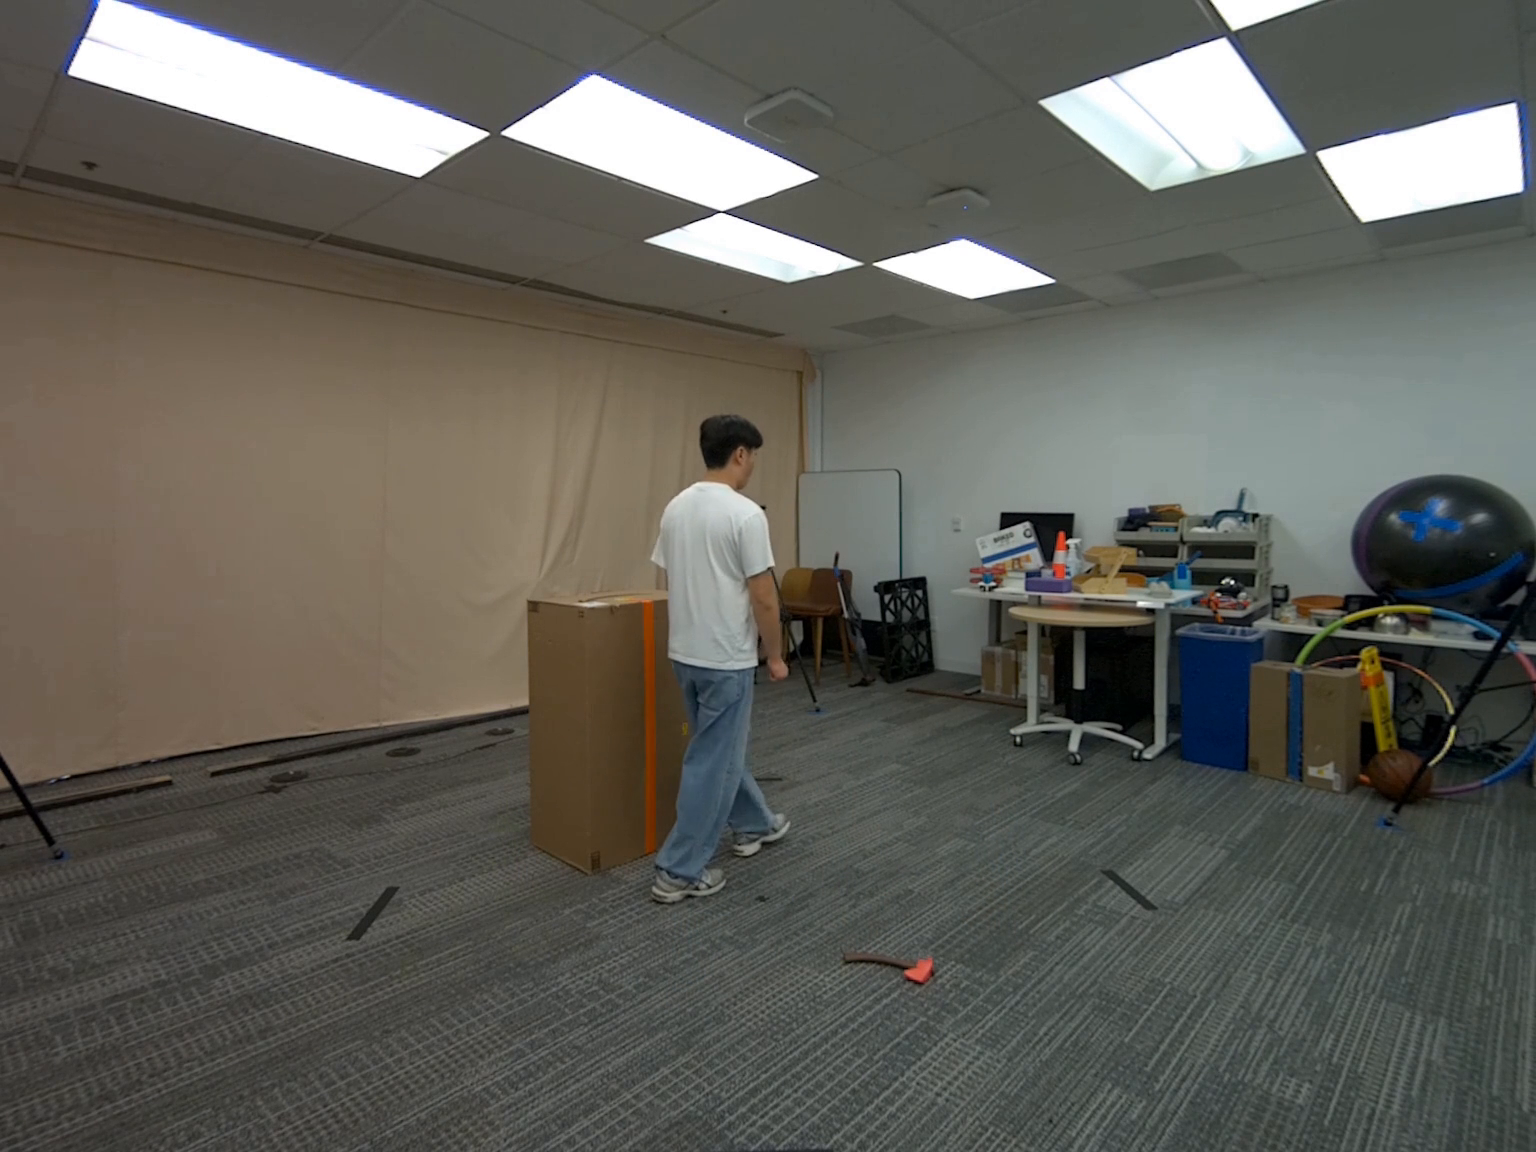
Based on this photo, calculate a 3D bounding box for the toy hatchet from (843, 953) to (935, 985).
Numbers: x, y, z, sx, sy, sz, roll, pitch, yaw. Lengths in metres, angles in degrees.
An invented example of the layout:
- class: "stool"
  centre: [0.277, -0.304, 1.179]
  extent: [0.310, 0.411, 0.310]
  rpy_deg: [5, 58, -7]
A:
- class: "toy hatchet"
  centre: [0.367, 1.172, 2.509]
  extent: [0.272, 0.029, 0.130]
  rpy_deg: [-2, 6, 7]
